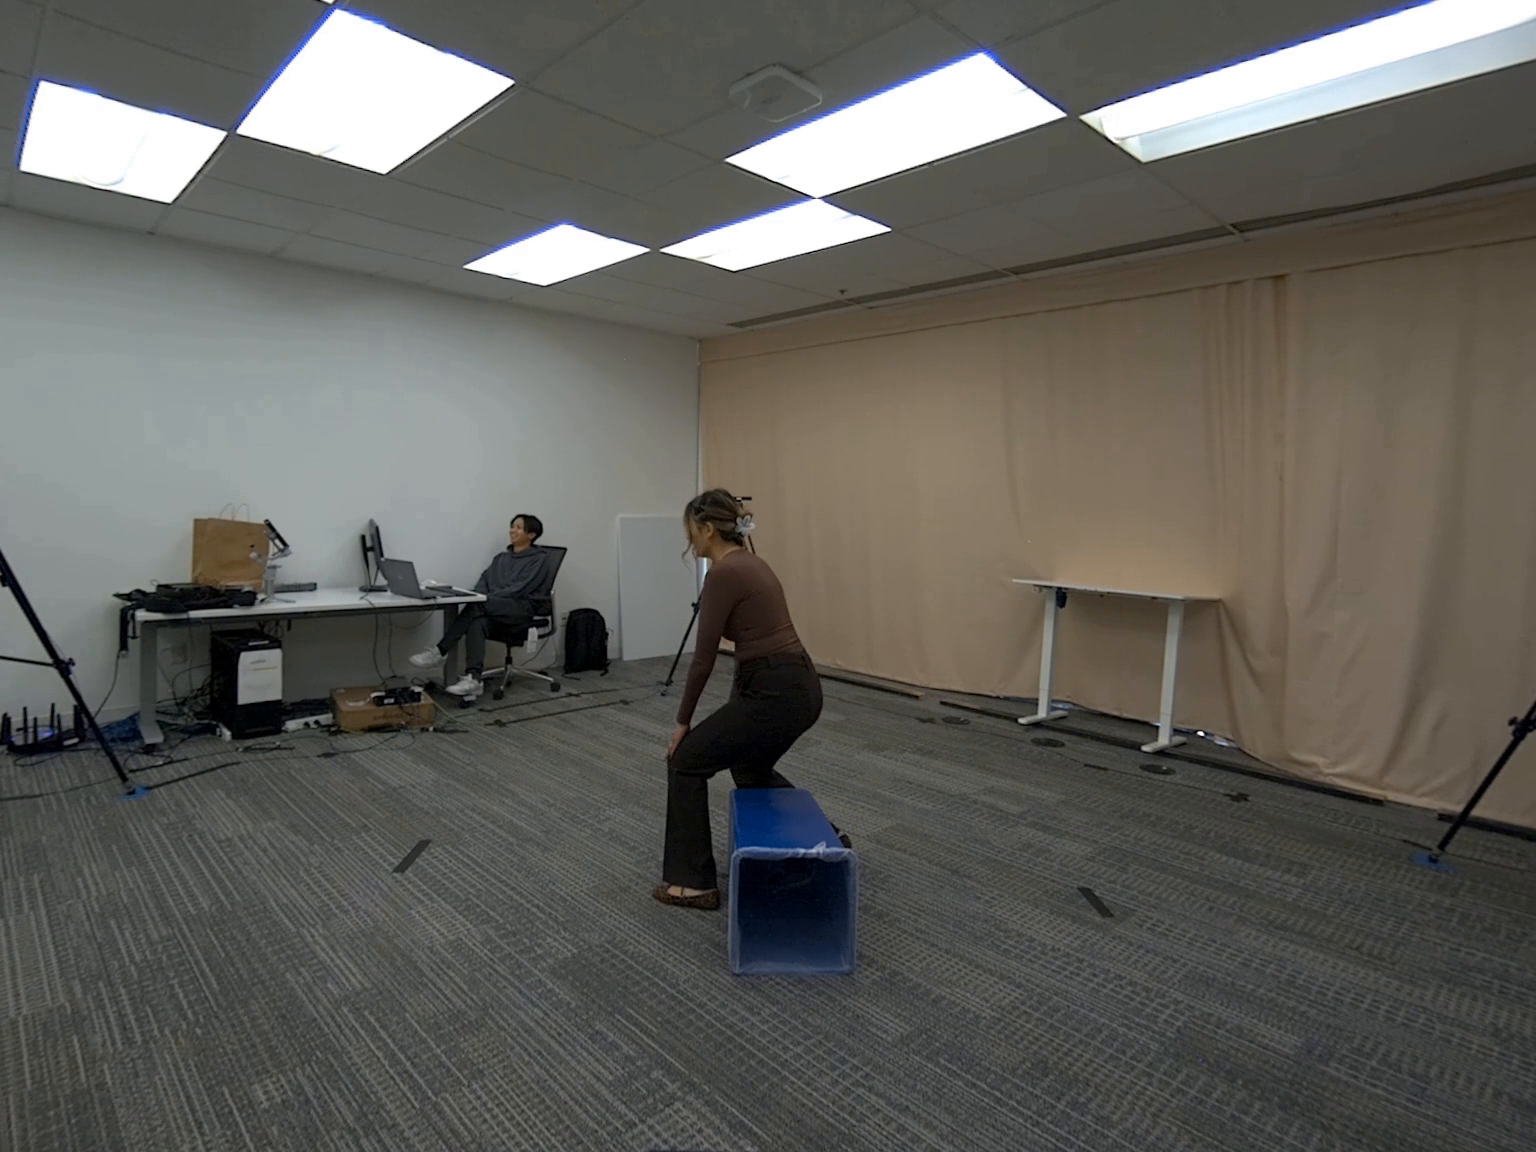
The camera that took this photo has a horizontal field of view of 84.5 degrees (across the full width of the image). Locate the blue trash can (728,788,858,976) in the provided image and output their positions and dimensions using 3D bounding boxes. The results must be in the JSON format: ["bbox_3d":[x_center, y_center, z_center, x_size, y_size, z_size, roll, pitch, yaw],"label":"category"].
[{"bbox_3d":[0.029,0.968,2.805,0.372,0.378,0.717,1,2,-6],"label":"blue trash can"}]
